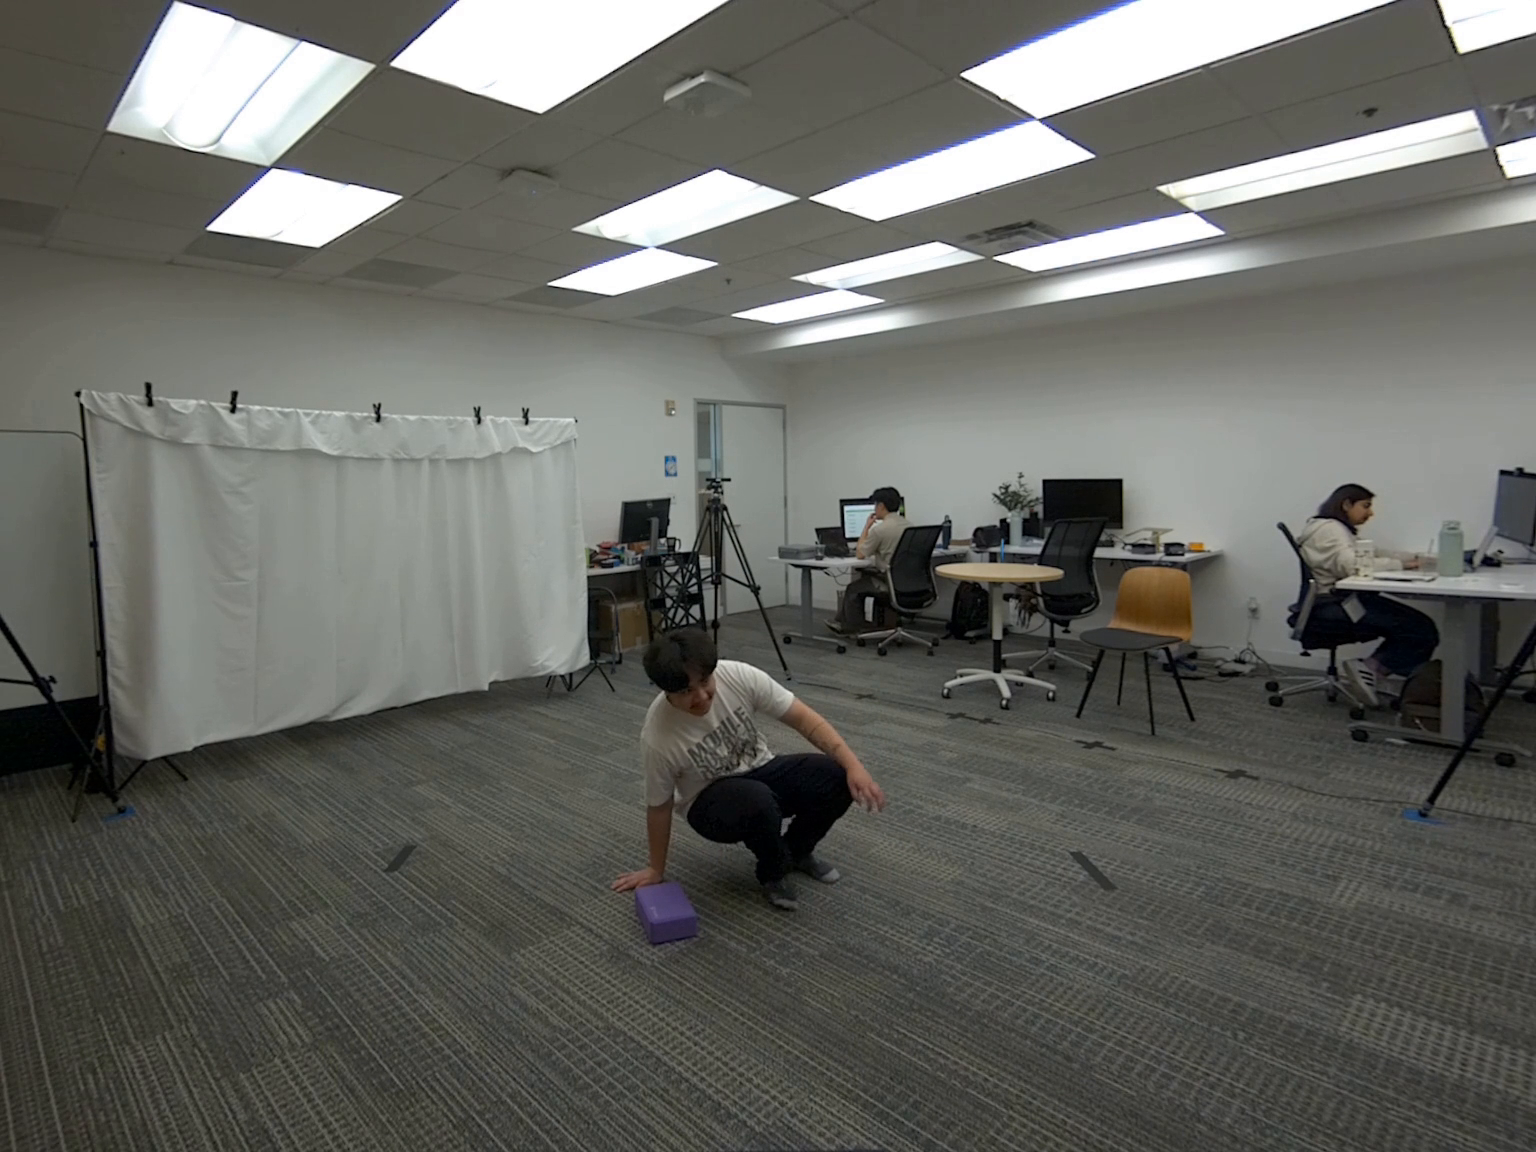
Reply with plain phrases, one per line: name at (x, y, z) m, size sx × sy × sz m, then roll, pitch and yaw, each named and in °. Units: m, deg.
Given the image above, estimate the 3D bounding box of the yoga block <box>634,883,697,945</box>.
yoga block at (-0.322, 1.056, 2.692) m, size 0.146 × 0.076 × 0.234 m, roll -3°, pitch 8°, yaw -19°
